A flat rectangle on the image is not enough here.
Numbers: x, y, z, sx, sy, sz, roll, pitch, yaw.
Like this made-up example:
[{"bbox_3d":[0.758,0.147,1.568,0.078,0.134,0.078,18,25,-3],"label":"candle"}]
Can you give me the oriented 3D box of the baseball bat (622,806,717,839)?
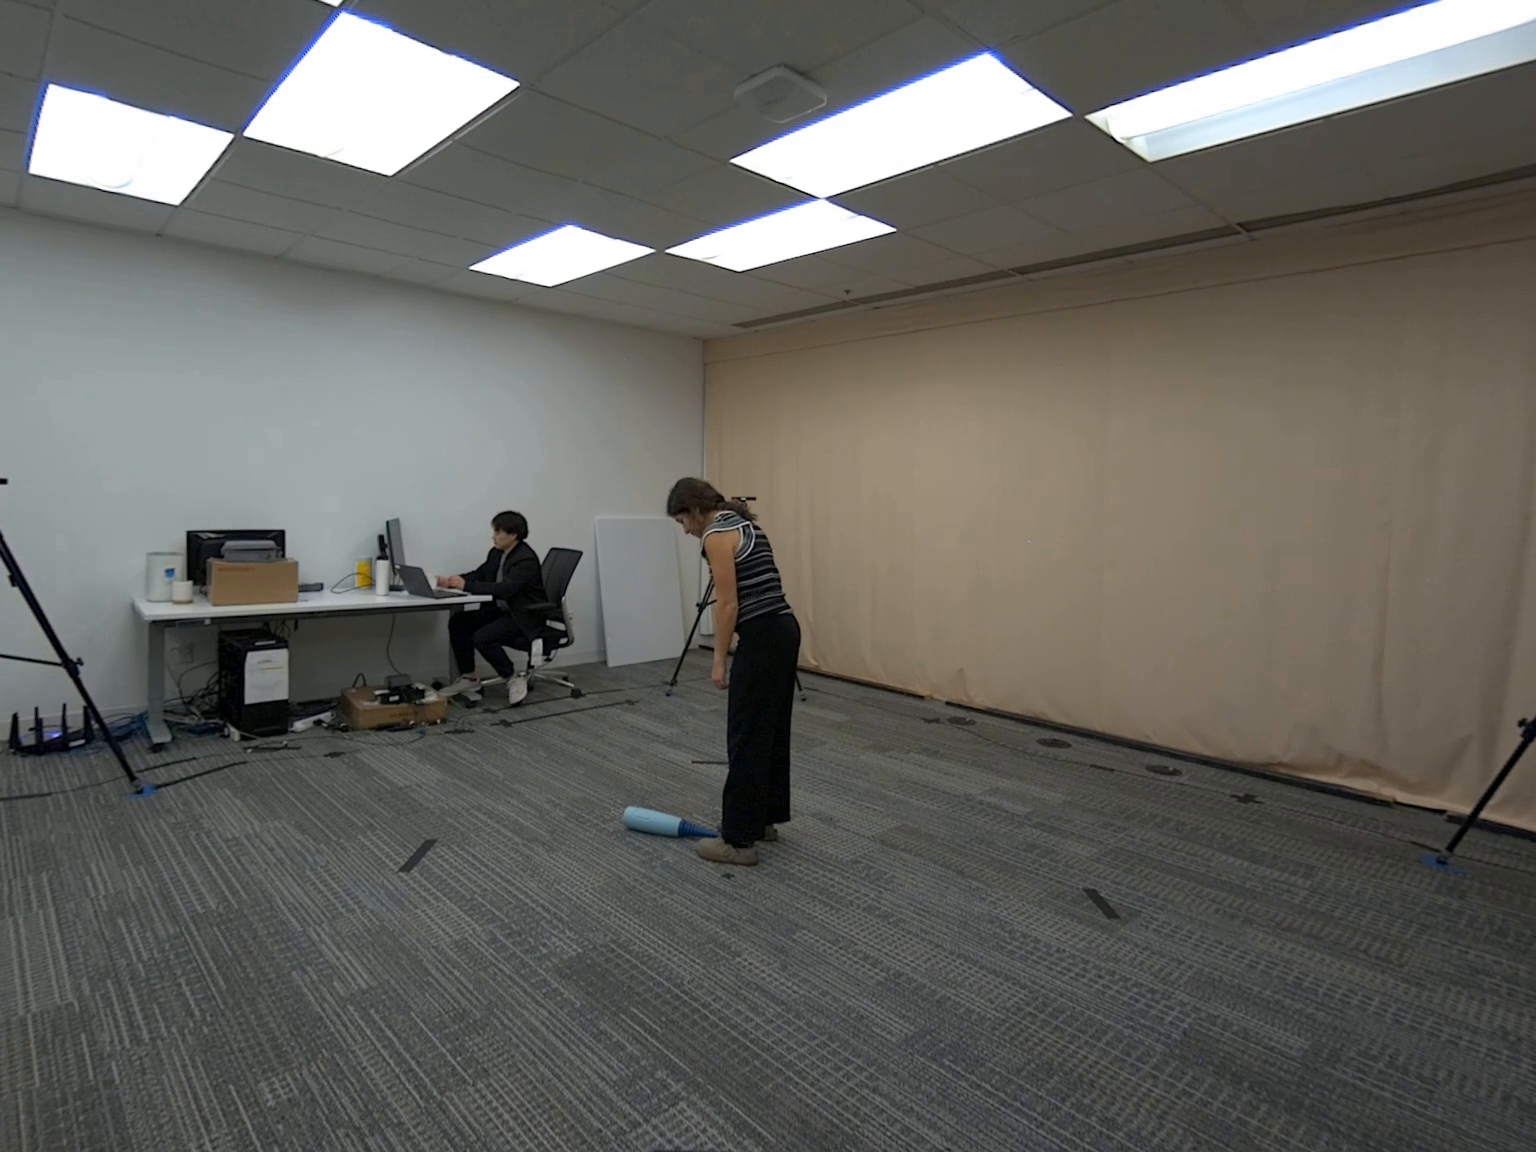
[{"bbox_3d":[-0.345,1.038,3.443,0.551,0.089,0.088,6,5,17],"label":"baseball bat"}]
